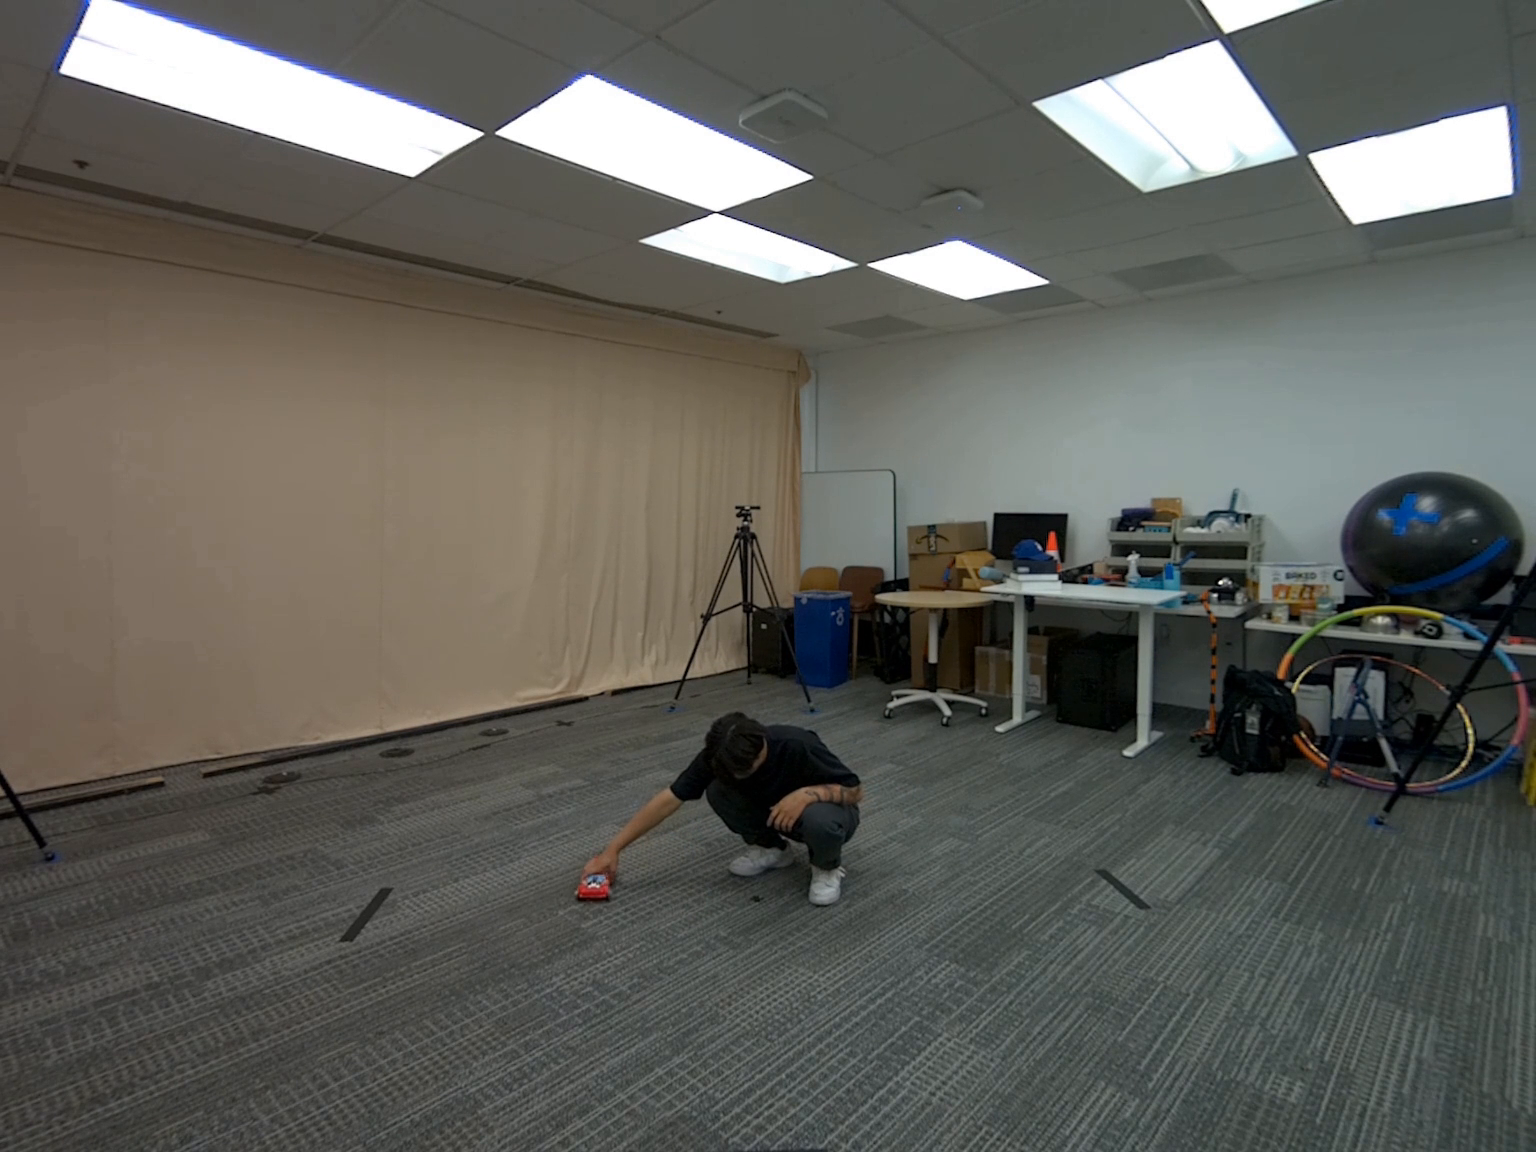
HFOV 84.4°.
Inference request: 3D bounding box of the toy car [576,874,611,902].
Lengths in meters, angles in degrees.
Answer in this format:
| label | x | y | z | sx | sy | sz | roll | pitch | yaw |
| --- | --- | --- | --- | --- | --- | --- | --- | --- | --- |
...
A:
| label | x | y | z | sx | sy | sz | roll | pitch | yaw |
| --- | --- | --- | --- | --- | --- | --- | --- | --- | --- |
| toy car | -0.621 | 1.113 | 3.086 | 0.130 | 0.082 | 0.257 | -1 | 13 | -4 |
